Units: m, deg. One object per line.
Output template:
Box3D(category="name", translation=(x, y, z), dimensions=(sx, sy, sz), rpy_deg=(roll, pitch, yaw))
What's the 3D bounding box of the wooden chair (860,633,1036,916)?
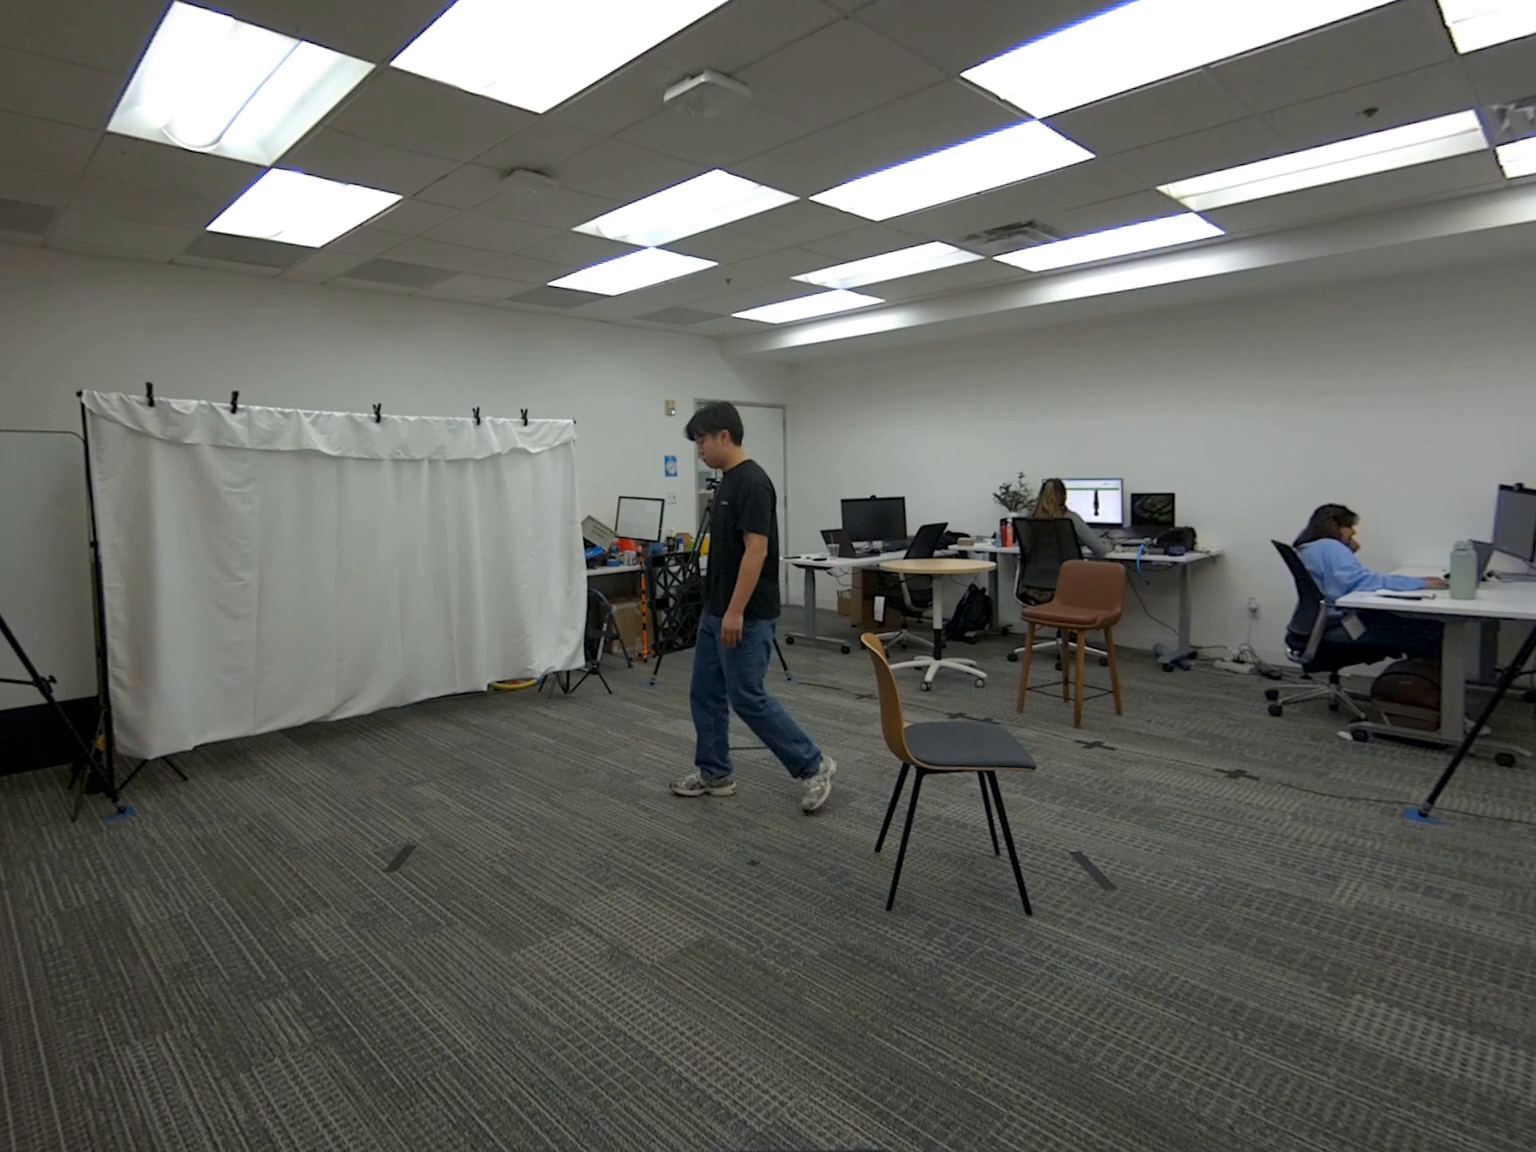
Box3D(category="wooden chair", translation=(0.622, 0.623, 2.916), dimensions=(0.525, 0.875, 0.478), rpy_deg=(-5, 3, 4))
